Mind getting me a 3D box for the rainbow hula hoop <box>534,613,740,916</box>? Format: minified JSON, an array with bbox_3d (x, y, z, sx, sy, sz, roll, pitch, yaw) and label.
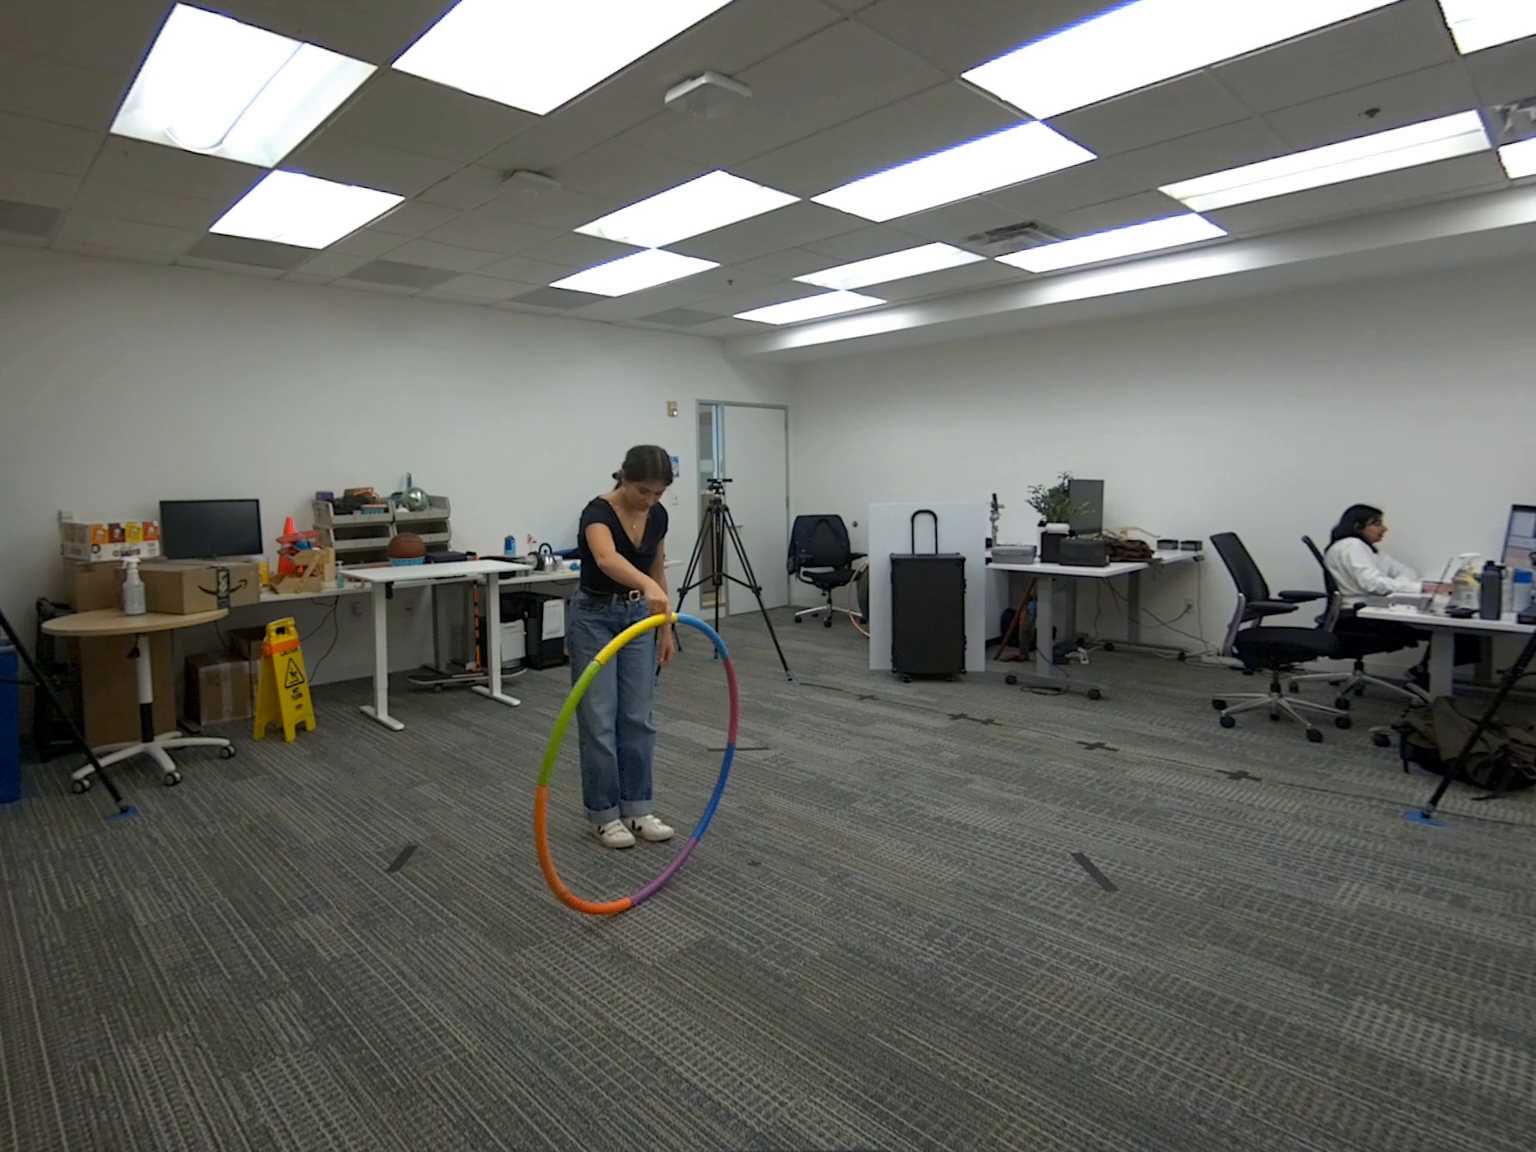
[{"bbox_3d":[-0.381,0.607,2.795,0.036,0.972,0.956,9,9,32],"label":"rainbow hula hoop"}]
